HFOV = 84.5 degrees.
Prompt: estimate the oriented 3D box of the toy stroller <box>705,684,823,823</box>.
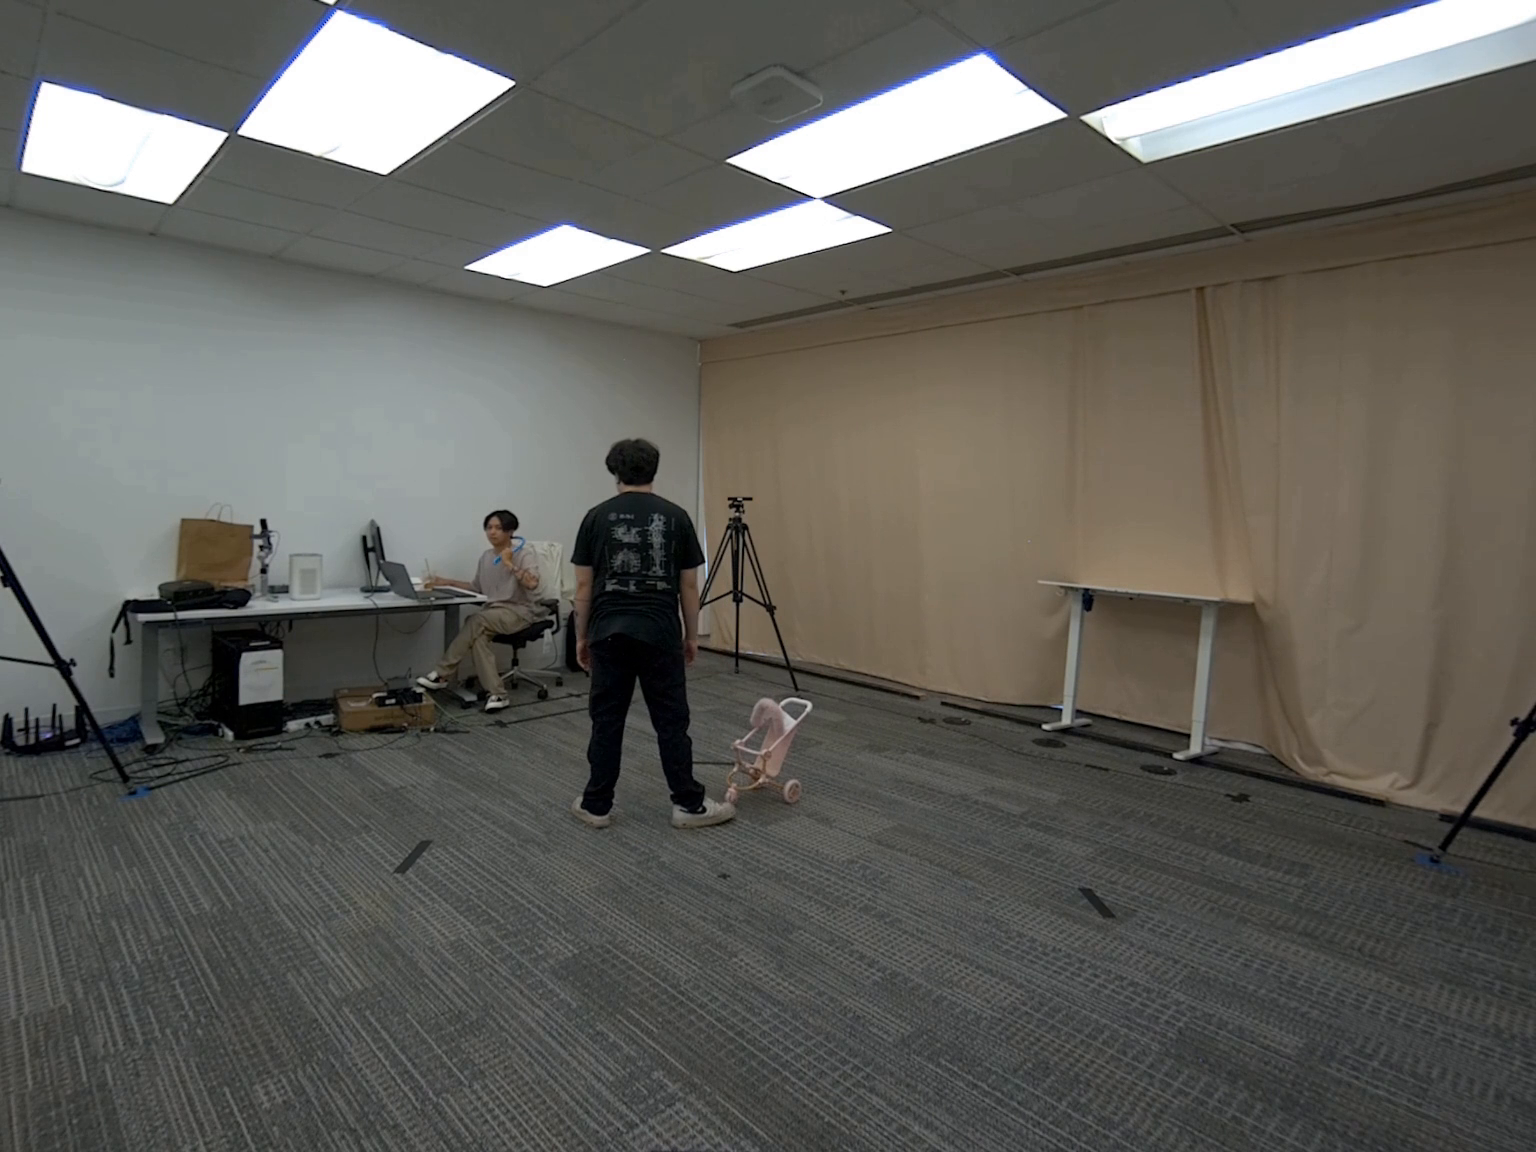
[{"bbox_3d":[-0.026,0.820,3.942,0.332,0.537,0.288,18,-7,-35],"label":"toy stroller"}]
